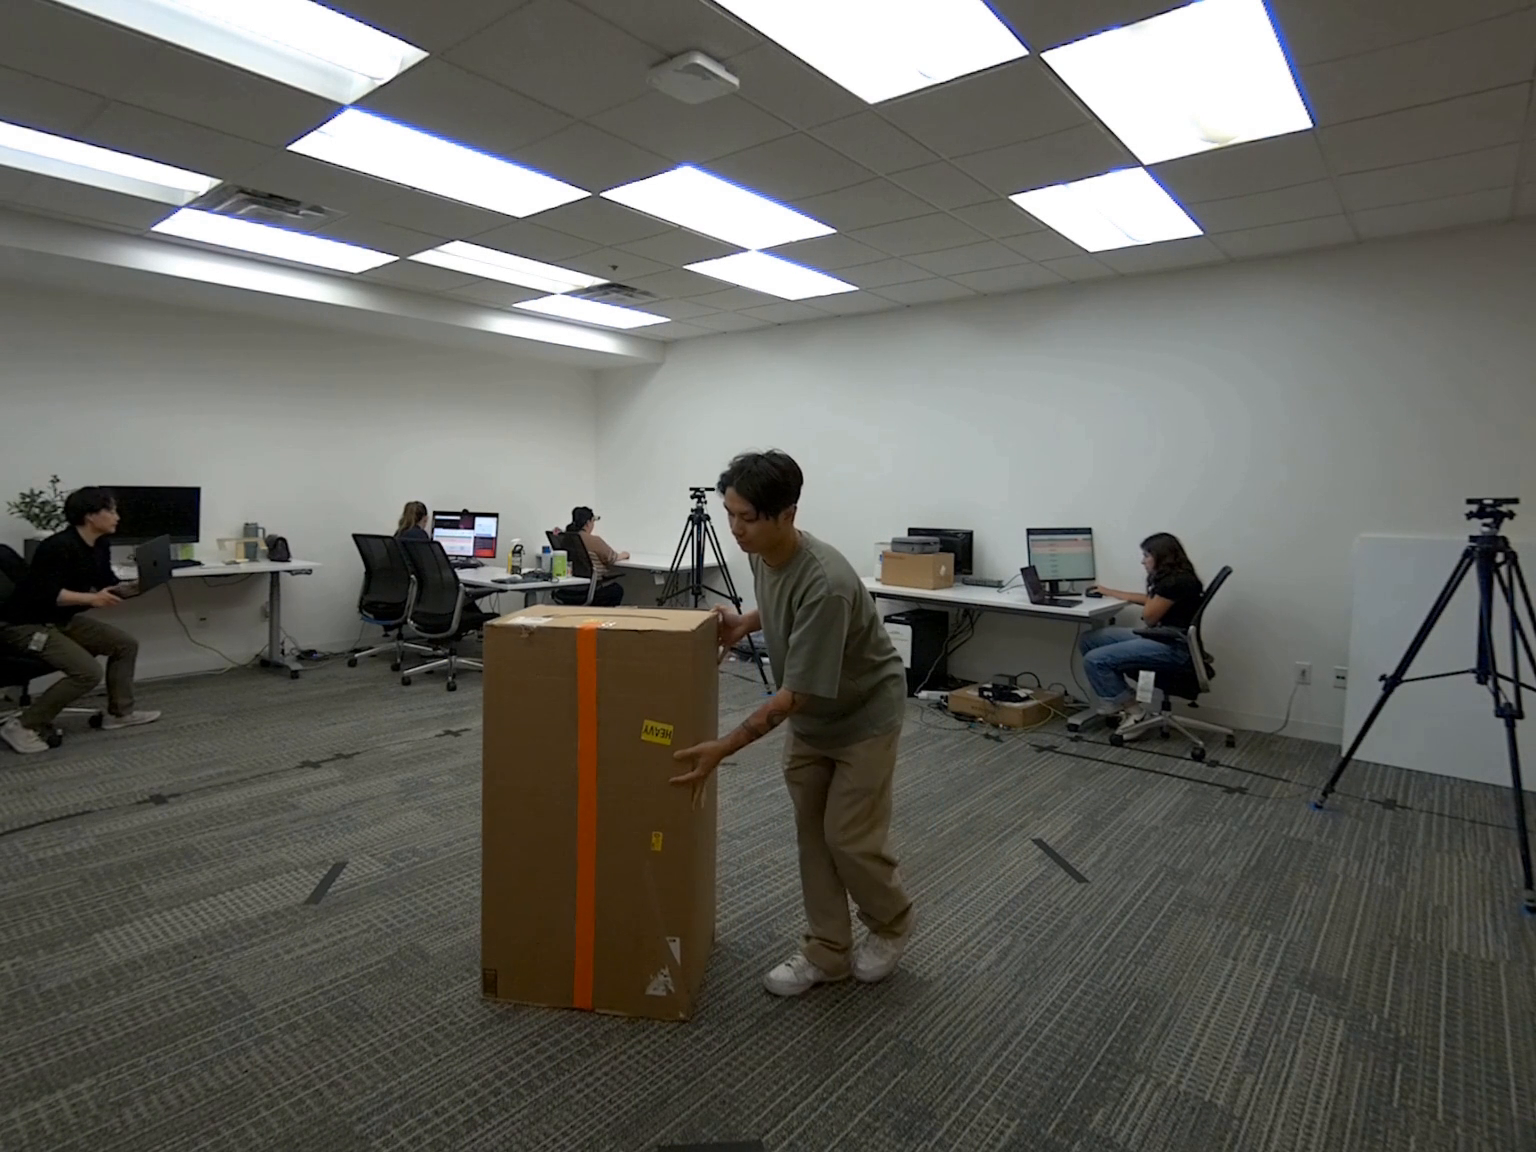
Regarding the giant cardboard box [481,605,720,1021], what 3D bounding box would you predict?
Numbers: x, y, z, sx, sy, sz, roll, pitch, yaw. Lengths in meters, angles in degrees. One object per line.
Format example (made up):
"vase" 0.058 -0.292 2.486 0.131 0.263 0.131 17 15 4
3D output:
"giant cardboard box" -0.469 0.622 2.436 0.583 1.023 0.423 1 3 7
